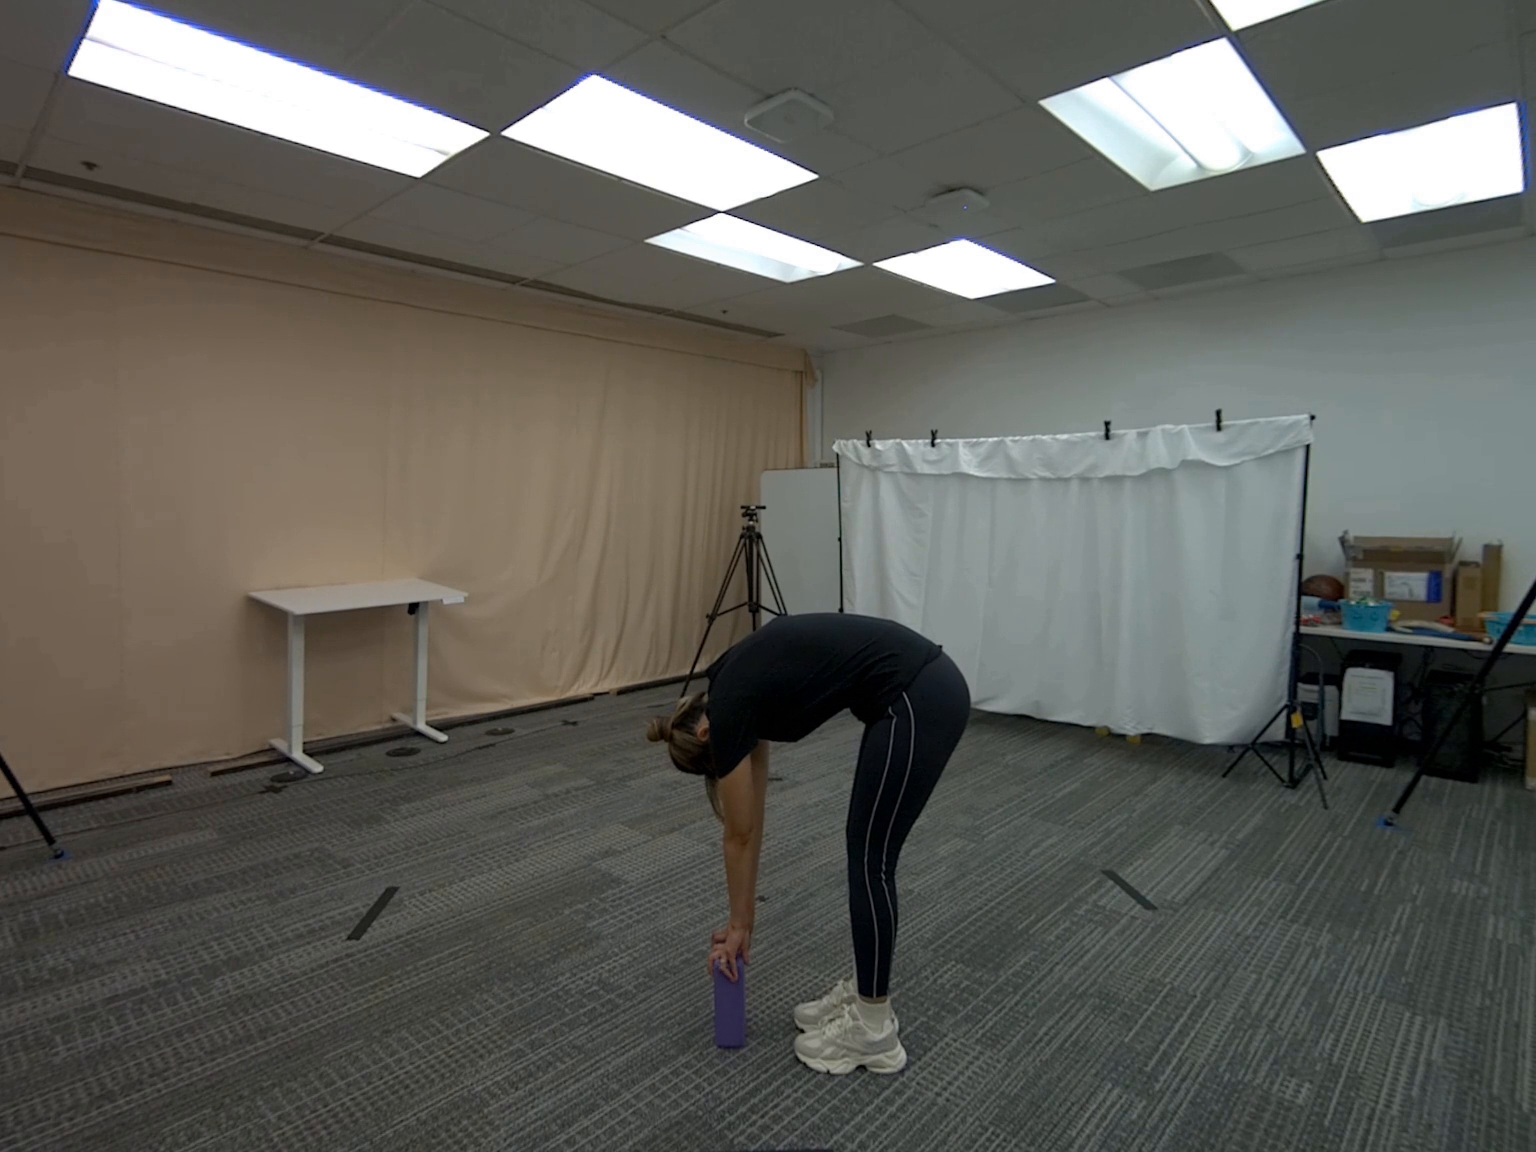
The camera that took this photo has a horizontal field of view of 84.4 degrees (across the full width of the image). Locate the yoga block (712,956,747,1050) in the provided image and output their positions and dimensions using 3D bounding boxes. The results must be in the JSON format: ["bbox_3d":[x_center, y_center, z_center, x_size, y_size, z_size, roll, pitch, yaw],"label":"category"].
[{"bbox_3d":[-0.098,1.101,2.223,0.076,0.229,0.149,1,2,1],"label":"yoga block"}]
